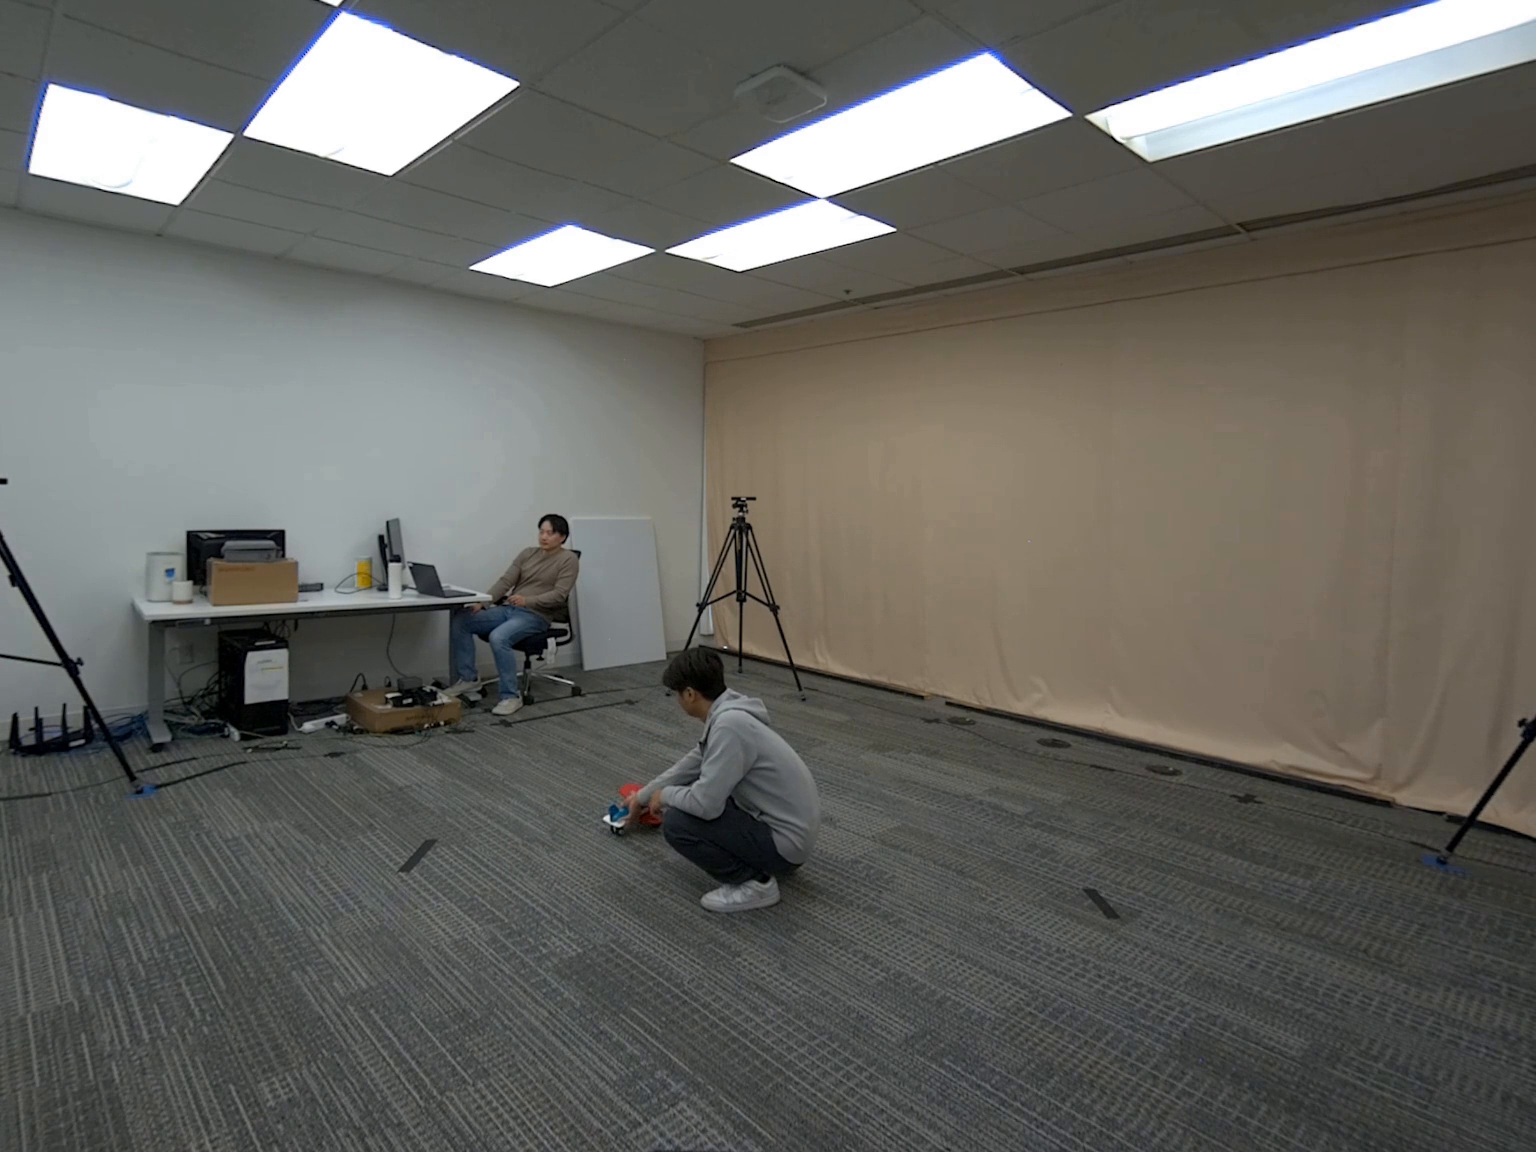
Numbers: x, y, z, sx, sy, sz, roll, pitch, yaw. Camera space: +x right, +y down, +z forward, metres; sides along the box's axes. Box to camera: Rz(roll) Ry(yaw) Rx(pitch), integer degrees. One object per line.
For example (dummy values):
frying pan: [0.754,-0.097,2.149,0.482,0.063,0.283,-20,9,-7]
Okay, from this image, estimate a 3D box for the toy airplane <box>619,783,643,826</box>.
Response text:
toy airplane: [-0.549,0.991,3.517,0.255,0.156,0.256,2,3,17]
